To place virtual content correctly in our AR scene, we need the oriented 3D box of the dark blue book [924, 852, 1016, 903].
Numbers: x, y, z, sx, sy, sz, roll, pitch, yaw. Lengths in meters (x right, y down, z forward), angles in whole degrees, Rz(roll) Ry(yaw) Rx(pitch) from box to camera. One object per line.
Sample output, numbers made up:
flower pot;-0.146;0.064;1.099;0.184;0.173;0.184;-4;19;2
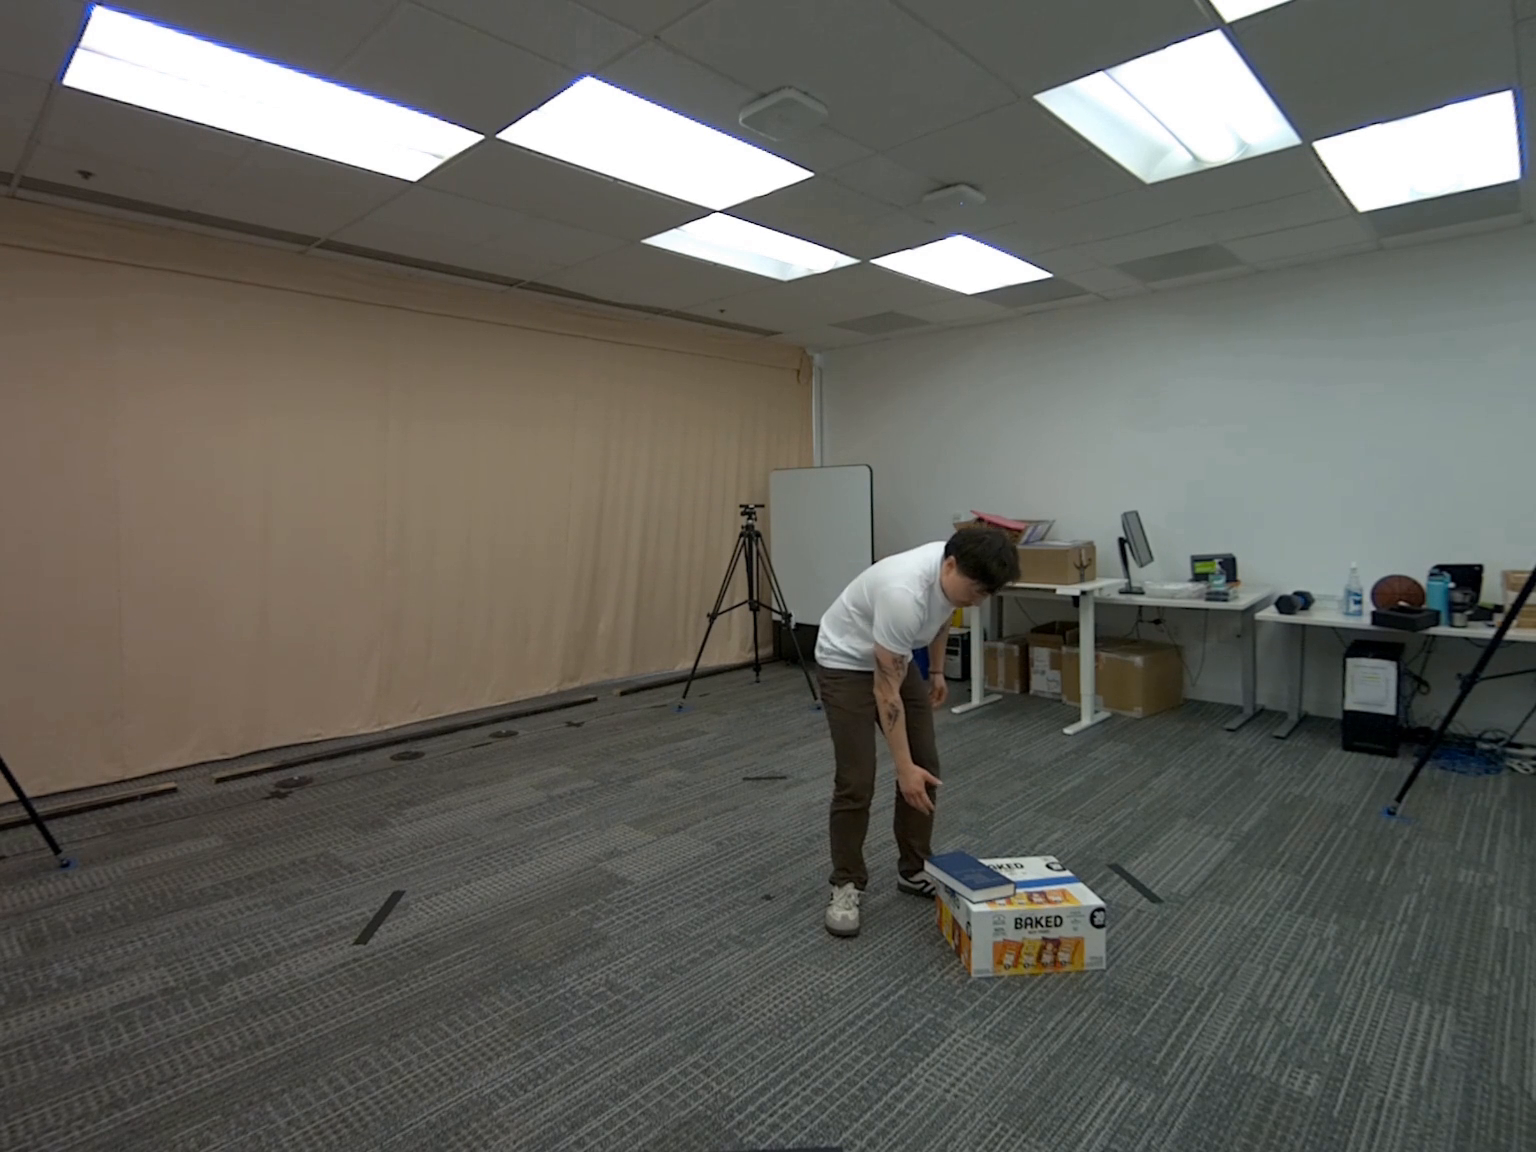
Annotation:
dark blue book;0.631;0.934;2.624;0.159;0.045;0.252;0;5;-26
